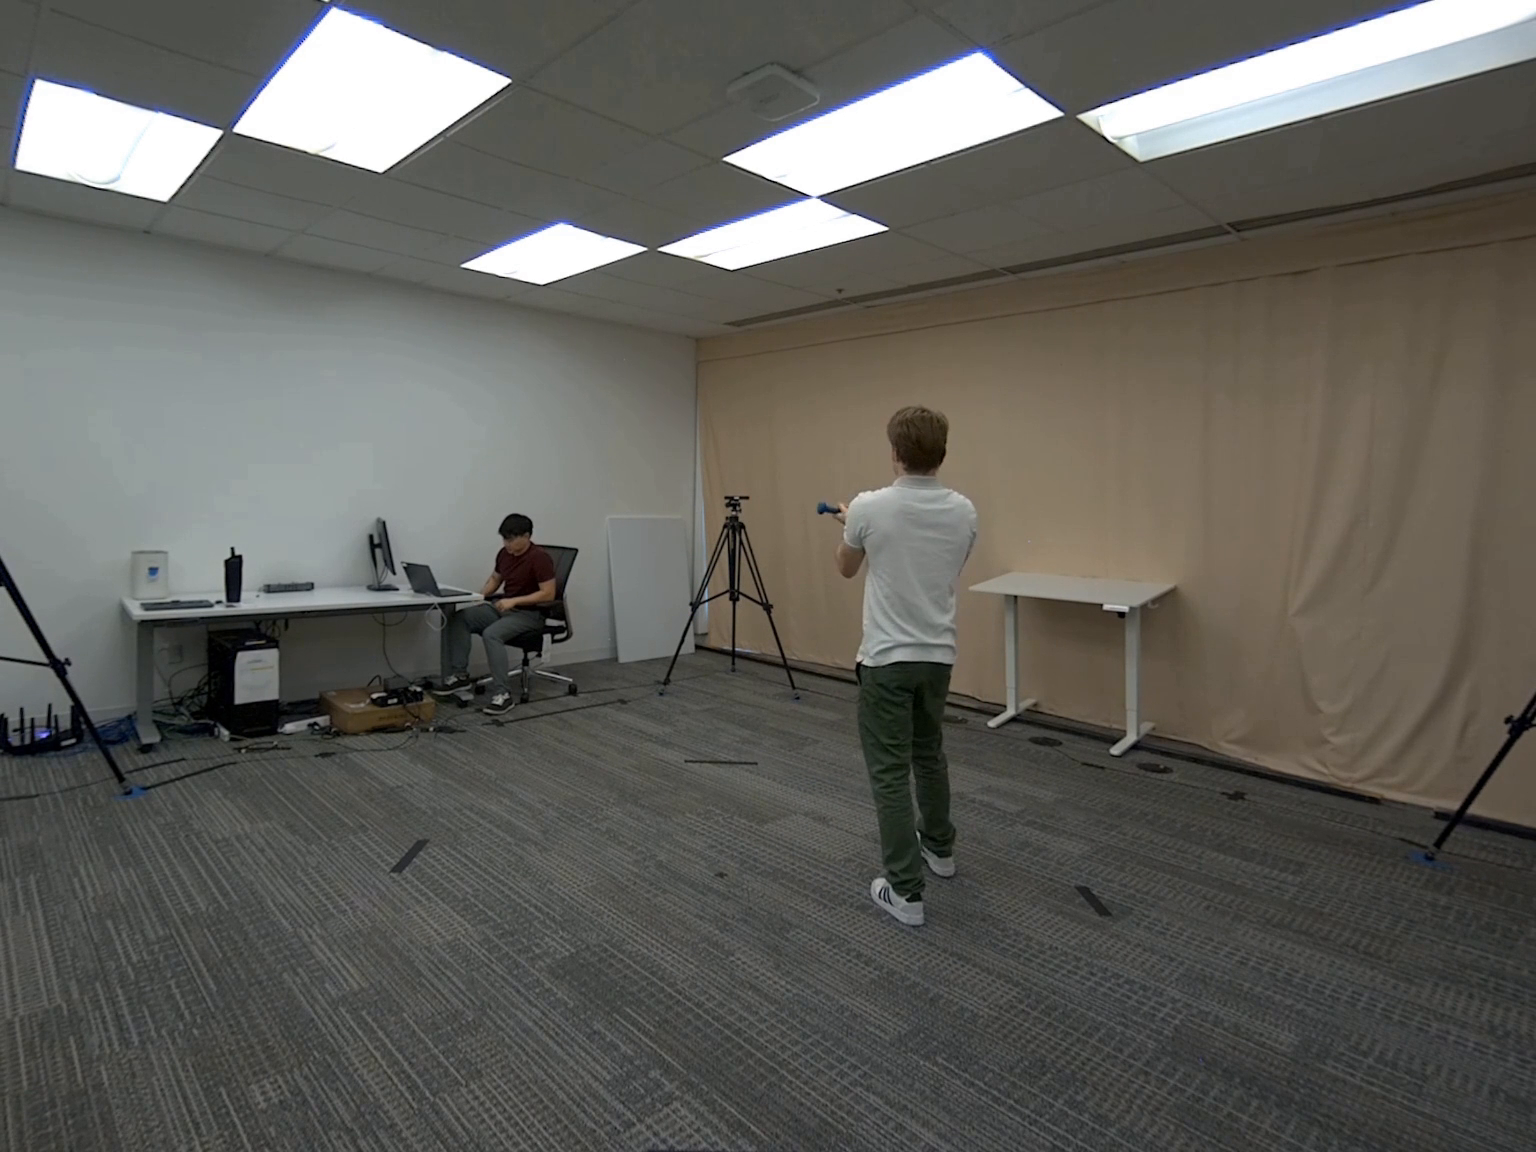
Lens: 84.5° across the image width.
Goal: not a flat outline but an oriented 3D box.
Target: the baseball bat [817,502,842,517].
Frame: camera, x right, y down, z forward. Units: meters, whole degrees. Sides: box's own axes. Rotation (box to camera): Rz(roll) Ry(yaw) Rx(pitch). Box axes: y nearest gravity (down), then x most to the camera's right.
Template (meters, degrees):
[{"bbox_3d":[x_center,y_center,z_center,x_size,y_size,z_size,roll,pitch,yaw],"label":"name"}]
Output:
[{"bbox_3d":[0.459,-0.232,3.327,0.535,0.089,0.090,9,2,-17],"label":"baseball bat"}]
